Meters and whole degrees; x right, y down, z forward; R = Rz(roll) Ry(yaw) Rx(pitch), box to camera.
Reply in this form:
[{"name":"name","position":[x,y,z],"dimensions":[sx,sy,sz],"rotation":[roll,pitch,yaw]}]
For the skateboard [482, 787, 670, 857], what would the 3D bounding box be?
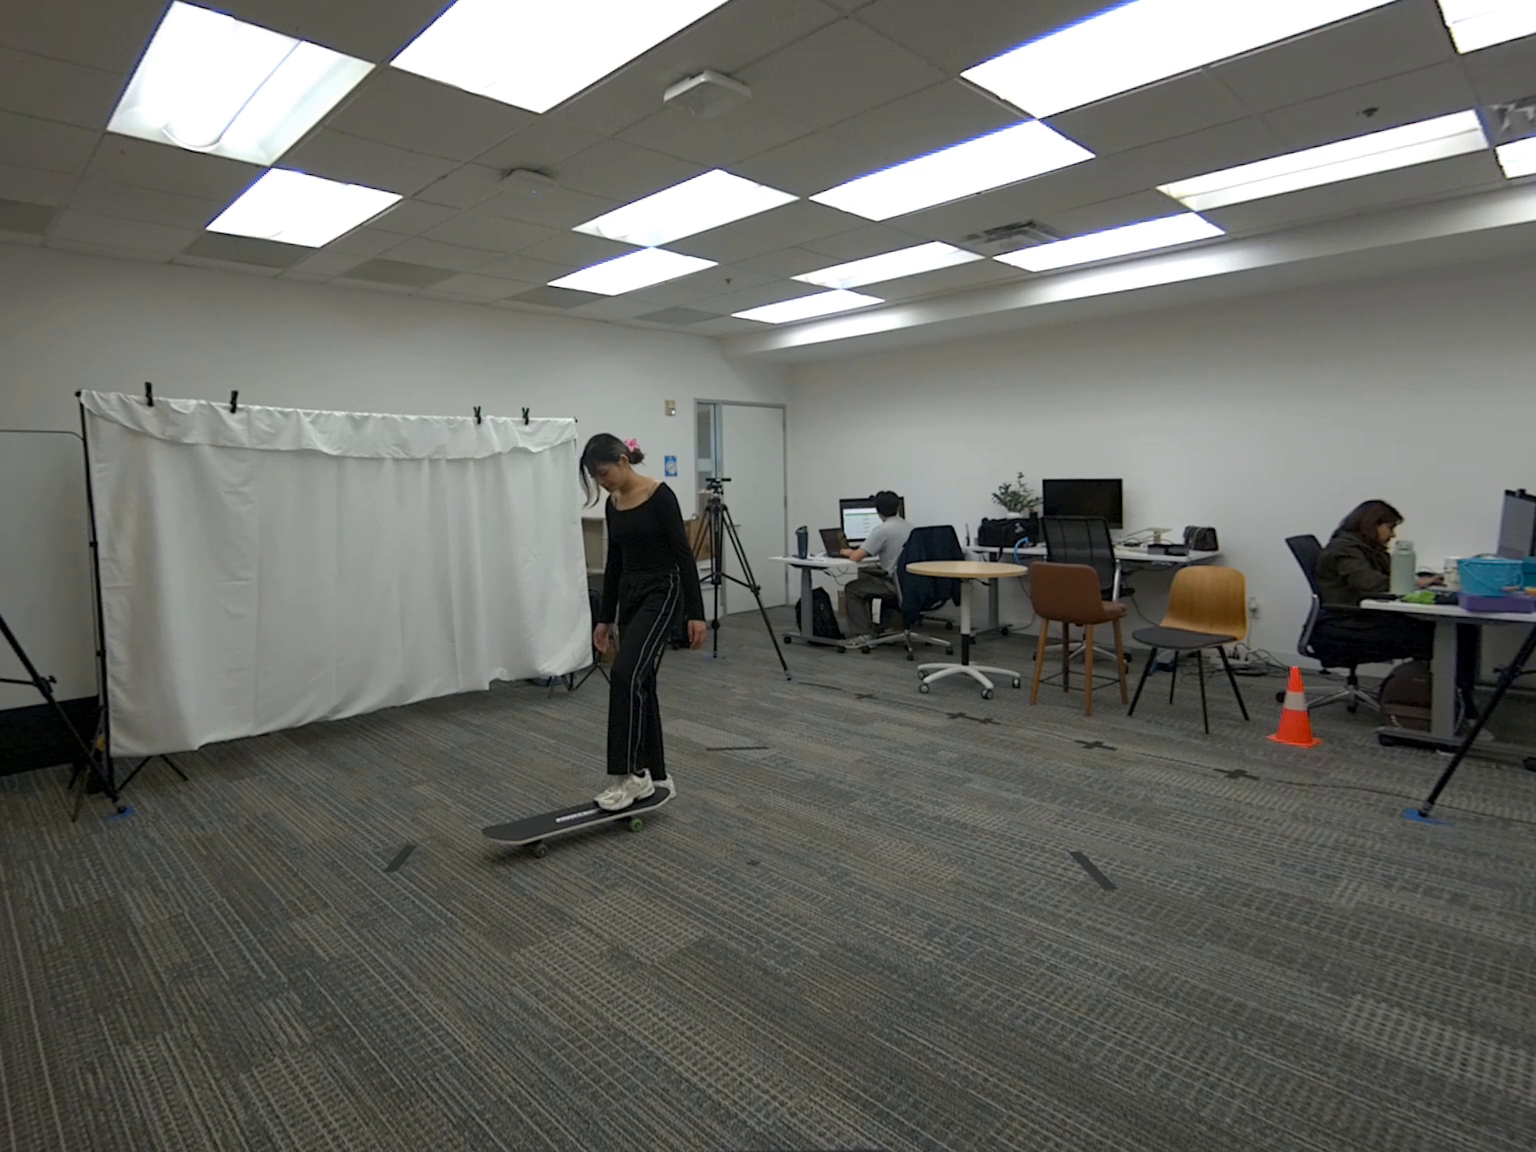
[{"name":"skateboard","position":[-0.733,0.967,3.360],"dimensions":[0.766,0.110,0.199],"rotation":[-5,6,-34]}]
